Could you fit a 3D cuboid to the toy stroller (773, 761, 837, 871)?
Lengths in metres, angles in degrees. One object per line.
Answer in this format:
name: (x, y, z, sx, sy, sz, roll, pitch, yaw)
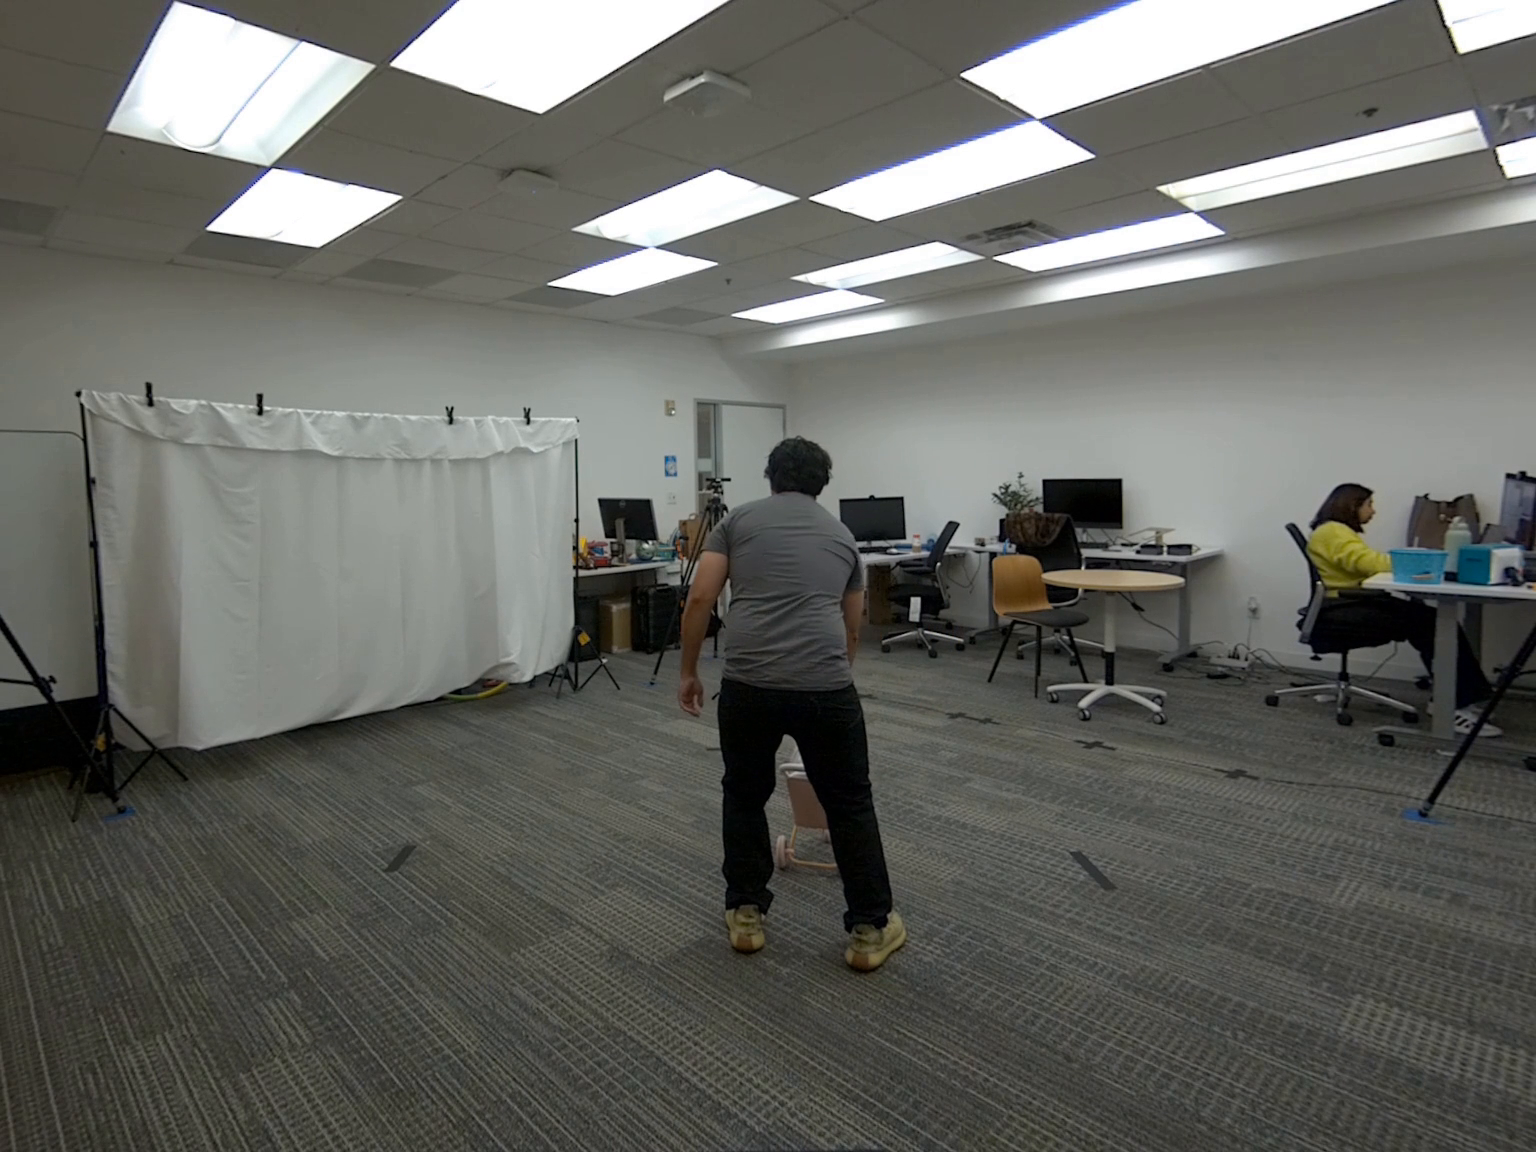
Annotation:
toy stroller: (0.190, 0.820, 3.087, 0.287, 0.525, 0.341, 1, 21, 19)
